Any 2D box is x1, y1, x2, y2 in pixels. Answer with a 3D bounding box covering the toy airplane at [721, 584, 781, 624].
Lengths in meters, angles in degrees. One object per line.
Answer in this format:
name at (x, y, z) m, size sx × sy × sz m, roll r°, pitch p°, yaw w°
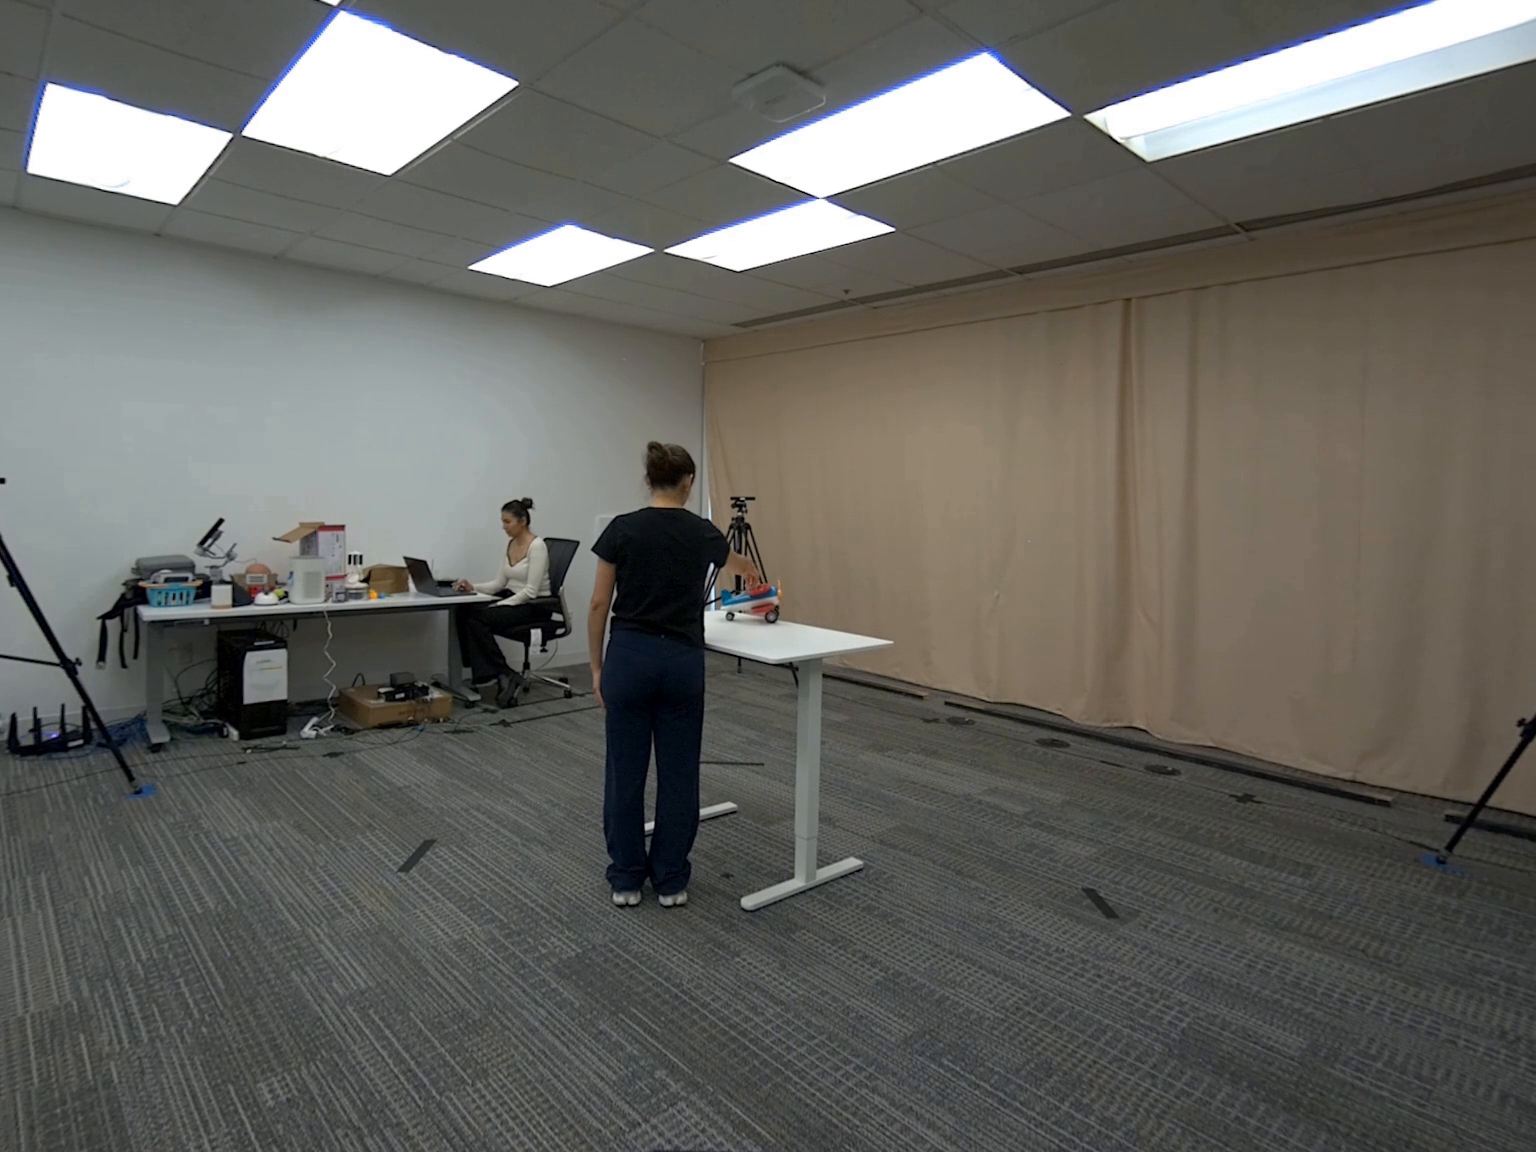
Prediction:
toy airplane at (-0.075, 0.115, 3.484) m, size 0.255 × 0.156 × 0.256 m, roll 0°, pitch 7°, yaw -20°
